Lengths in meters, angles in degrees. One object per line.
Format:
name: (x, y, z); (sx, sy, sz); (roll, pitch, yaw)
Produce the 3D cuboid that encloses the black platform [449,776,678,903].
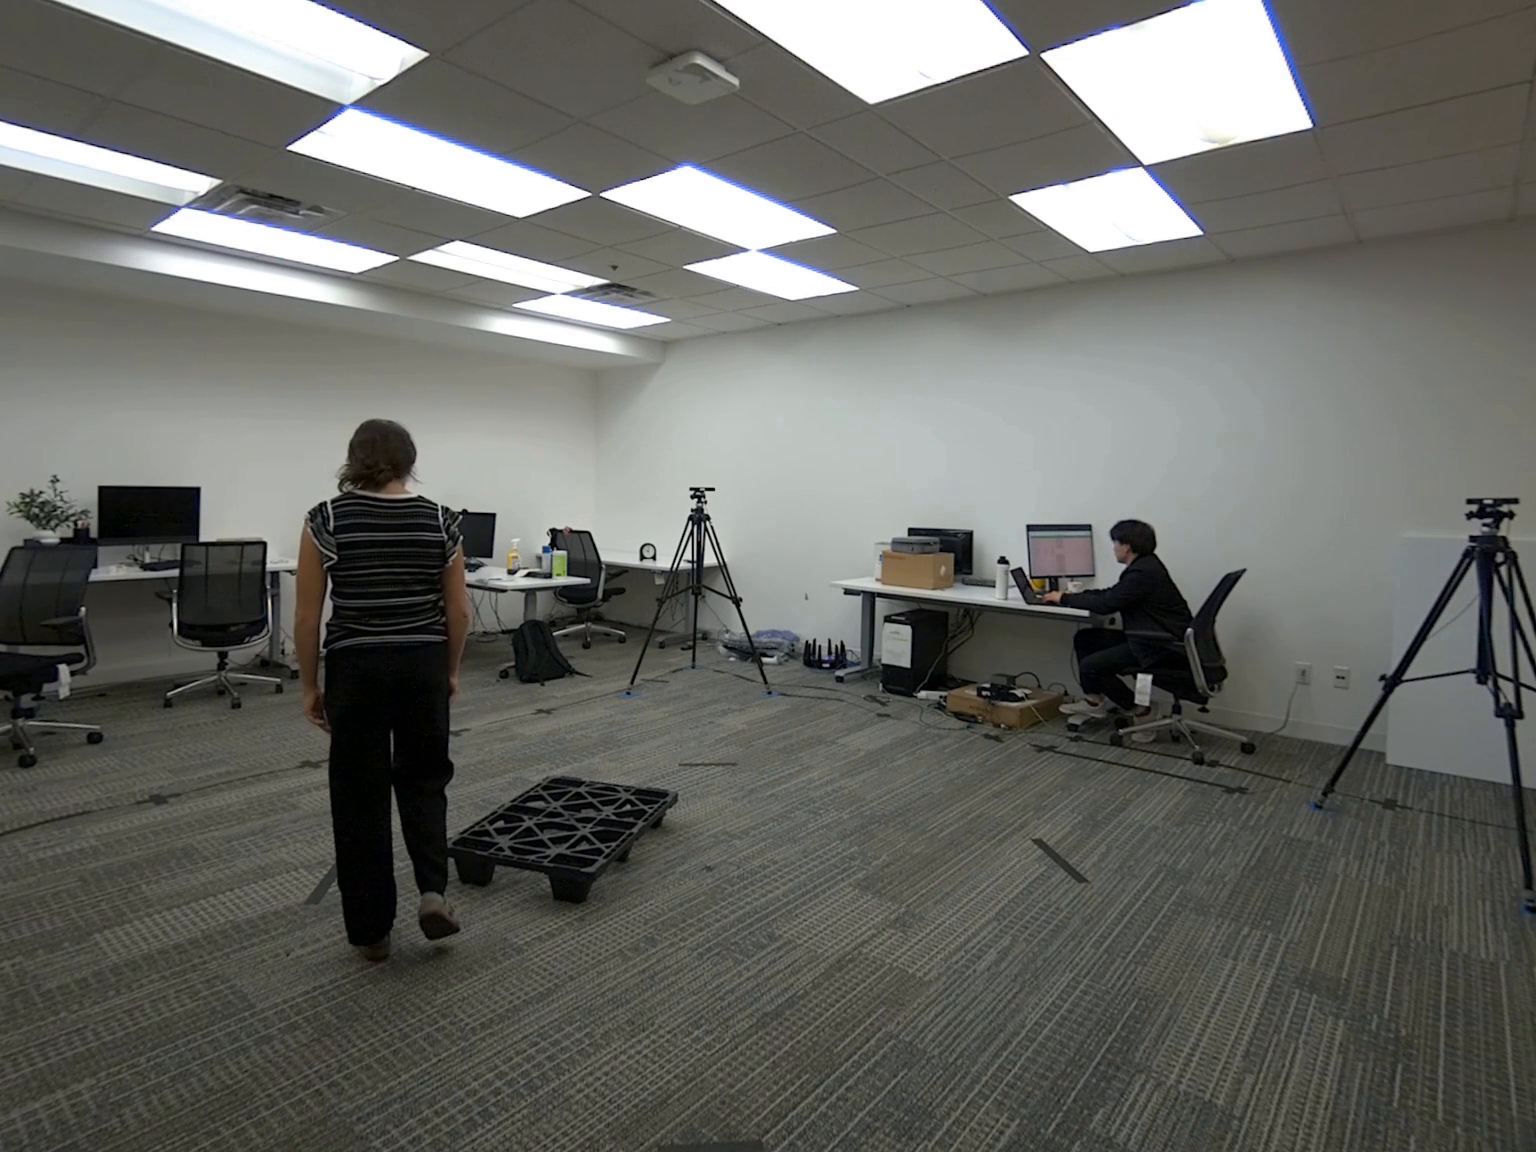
black platform: (-0.761, 0.975, 3.240); (0.616, 0.143, 0.794); (3, 6, 16)
